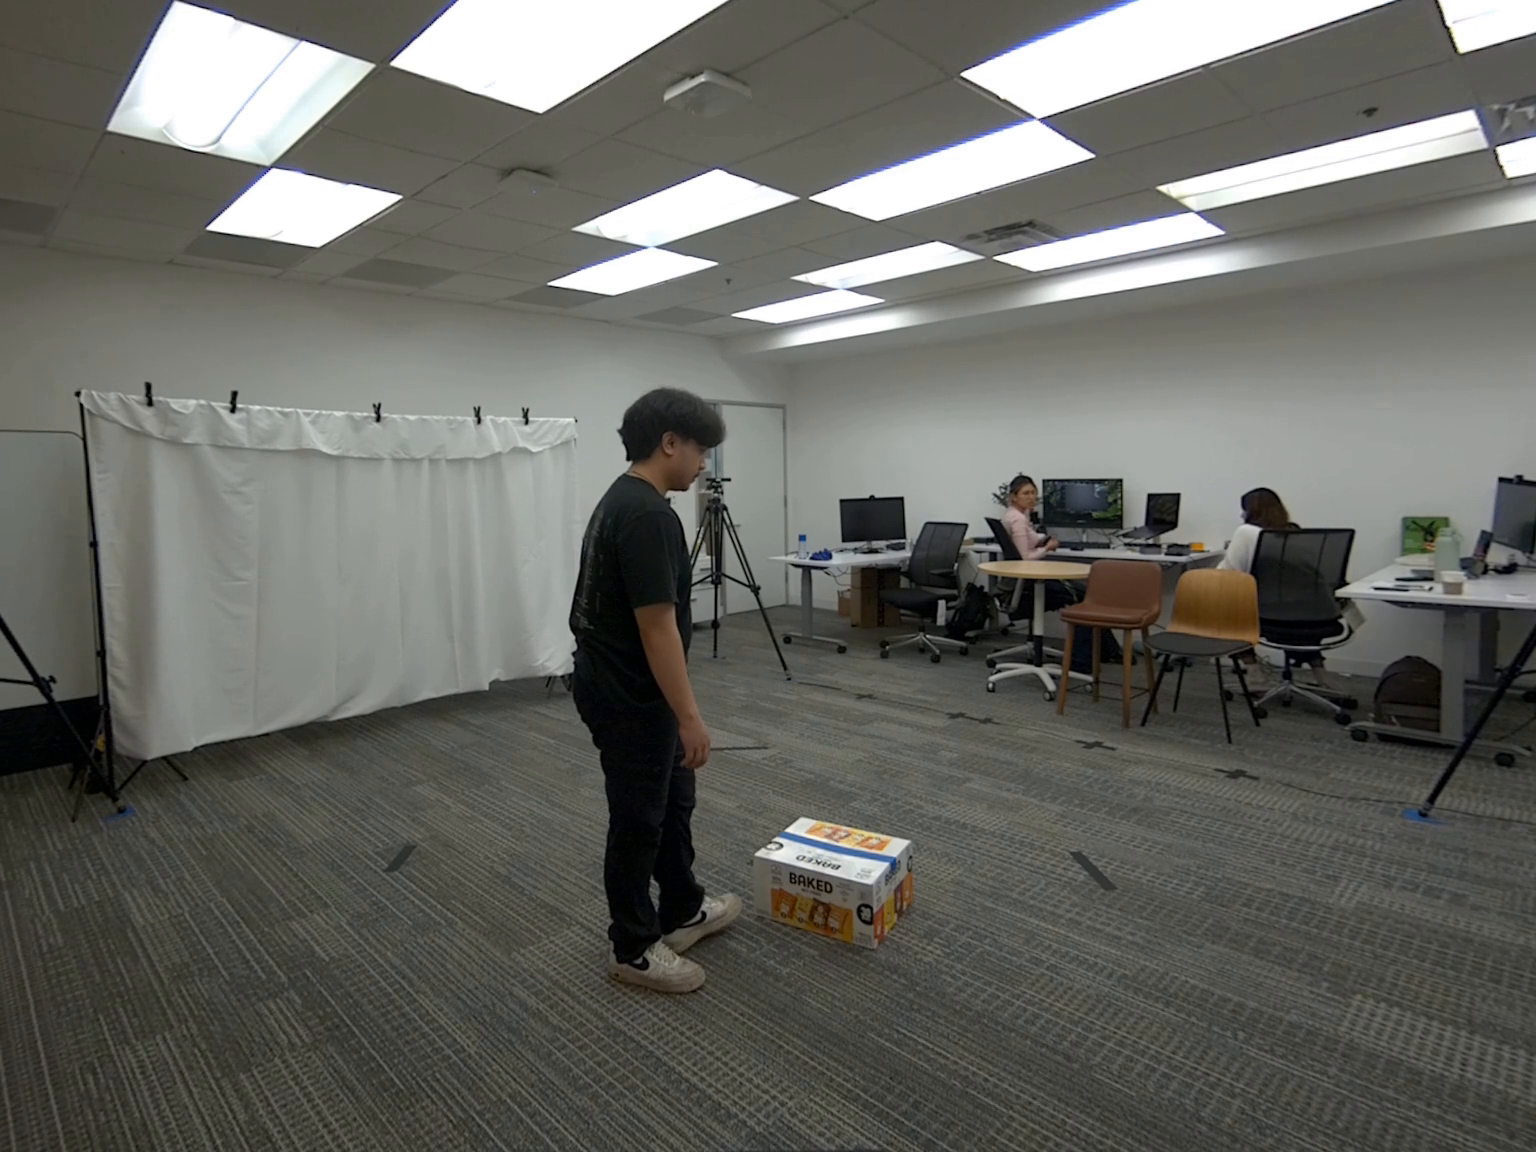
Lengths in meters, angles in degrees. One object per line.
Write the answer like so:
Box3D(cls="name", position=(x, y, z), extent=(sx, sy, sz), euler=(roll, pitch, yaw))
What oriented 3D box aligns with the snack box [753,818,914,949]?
Box3D(cls="snack box", position=(0.217, 0.975, 2.756), extent=(0.416, 0.205, 0.333), euler=(2, 7, 30))
